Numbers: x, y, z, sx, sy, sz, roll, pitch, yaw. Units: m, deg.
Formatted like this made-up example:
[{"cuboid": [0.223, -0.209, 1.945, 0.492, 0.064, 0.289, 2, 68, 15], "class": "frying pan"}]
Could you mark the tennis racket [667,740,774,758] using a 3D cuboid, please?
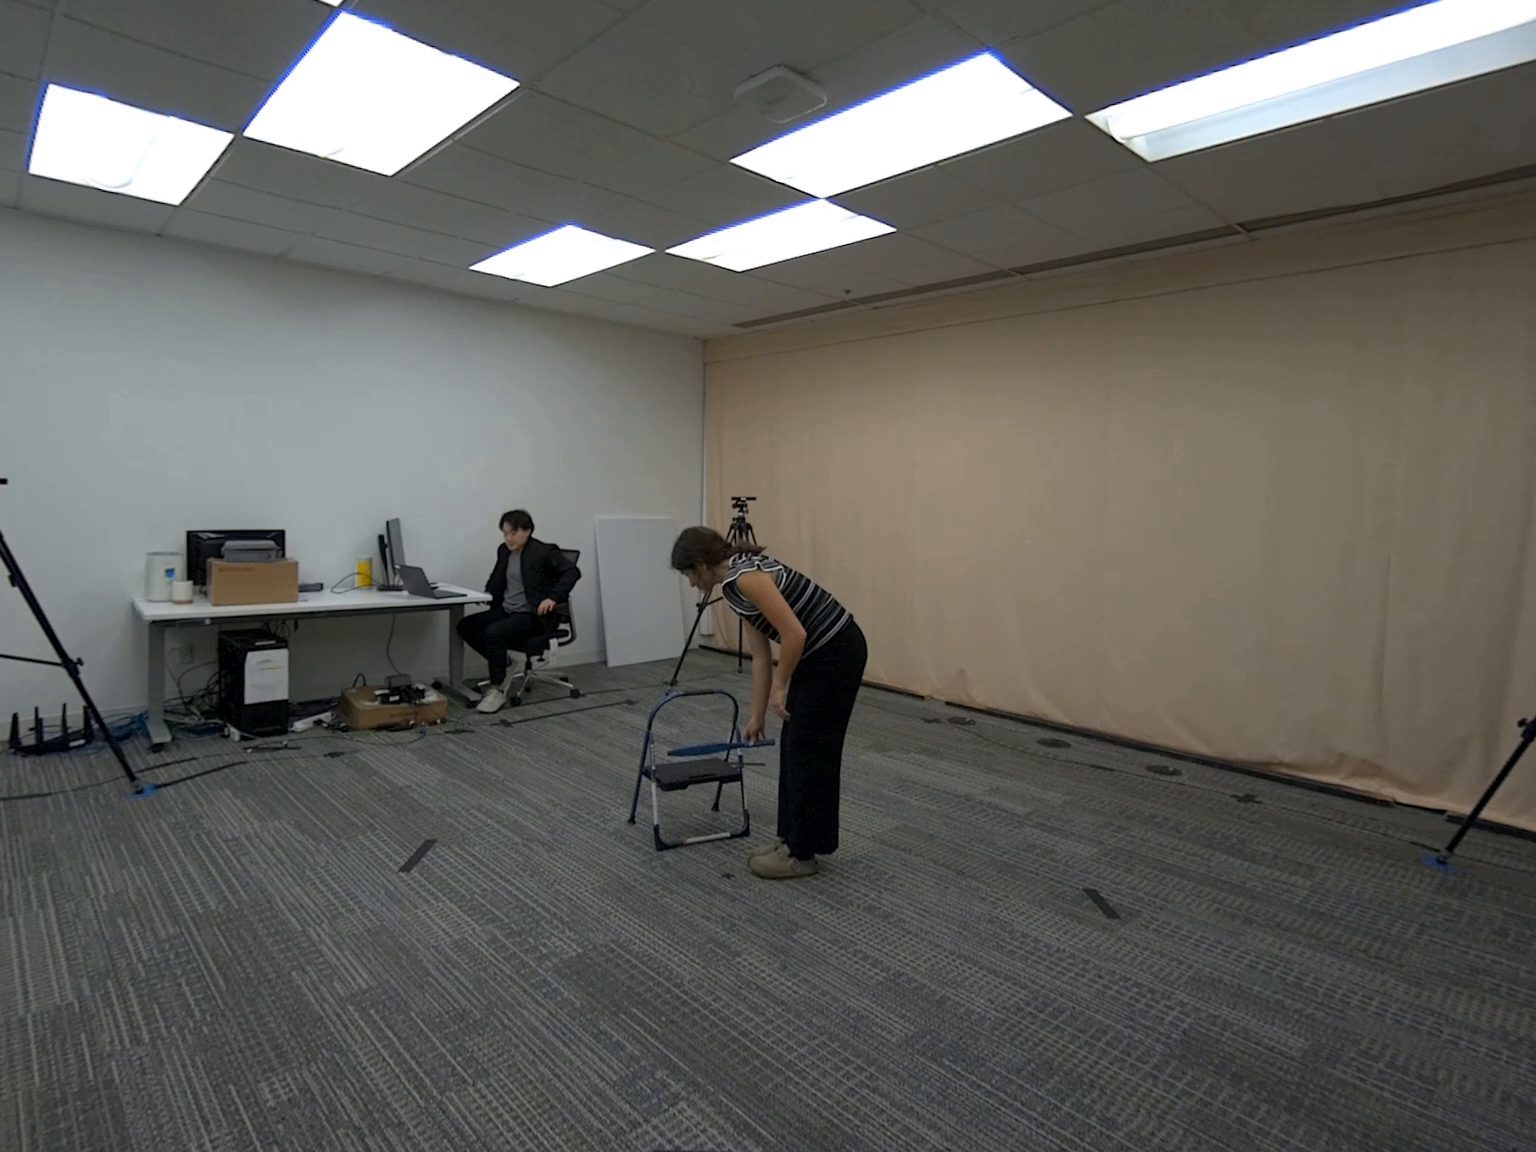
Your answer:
[{"cuboid": [-0.208, 0.683, 3.359, 0.429, 0.032, 0.212, -3, -15, -10], "class": "tennis racket"}]
